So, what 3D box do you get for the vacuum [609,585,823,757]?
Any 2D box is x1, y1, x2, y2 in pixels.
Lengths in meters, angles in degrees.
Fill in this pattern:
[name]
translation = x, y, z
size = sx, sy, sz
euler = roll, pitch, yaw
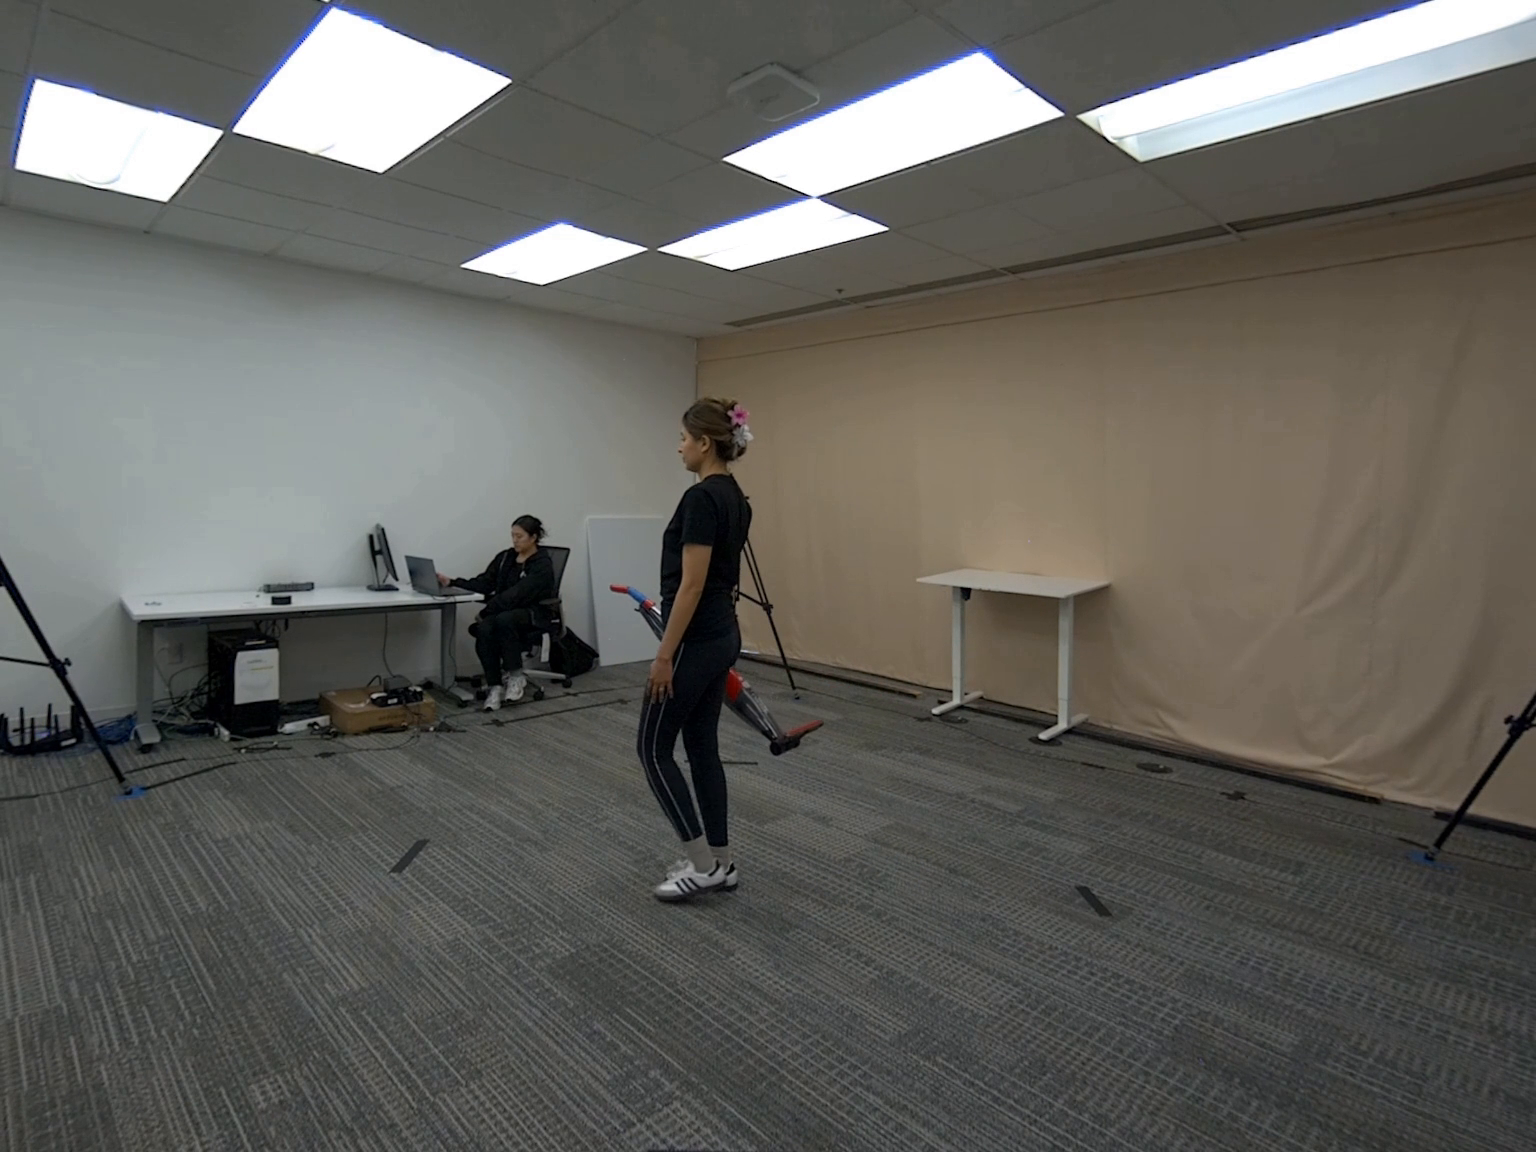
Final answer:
[vacuum]
translation = -0.283, 0.325, 3.310
size = 1.078, 0.143, 0.247
euler = 35, 21, 28
